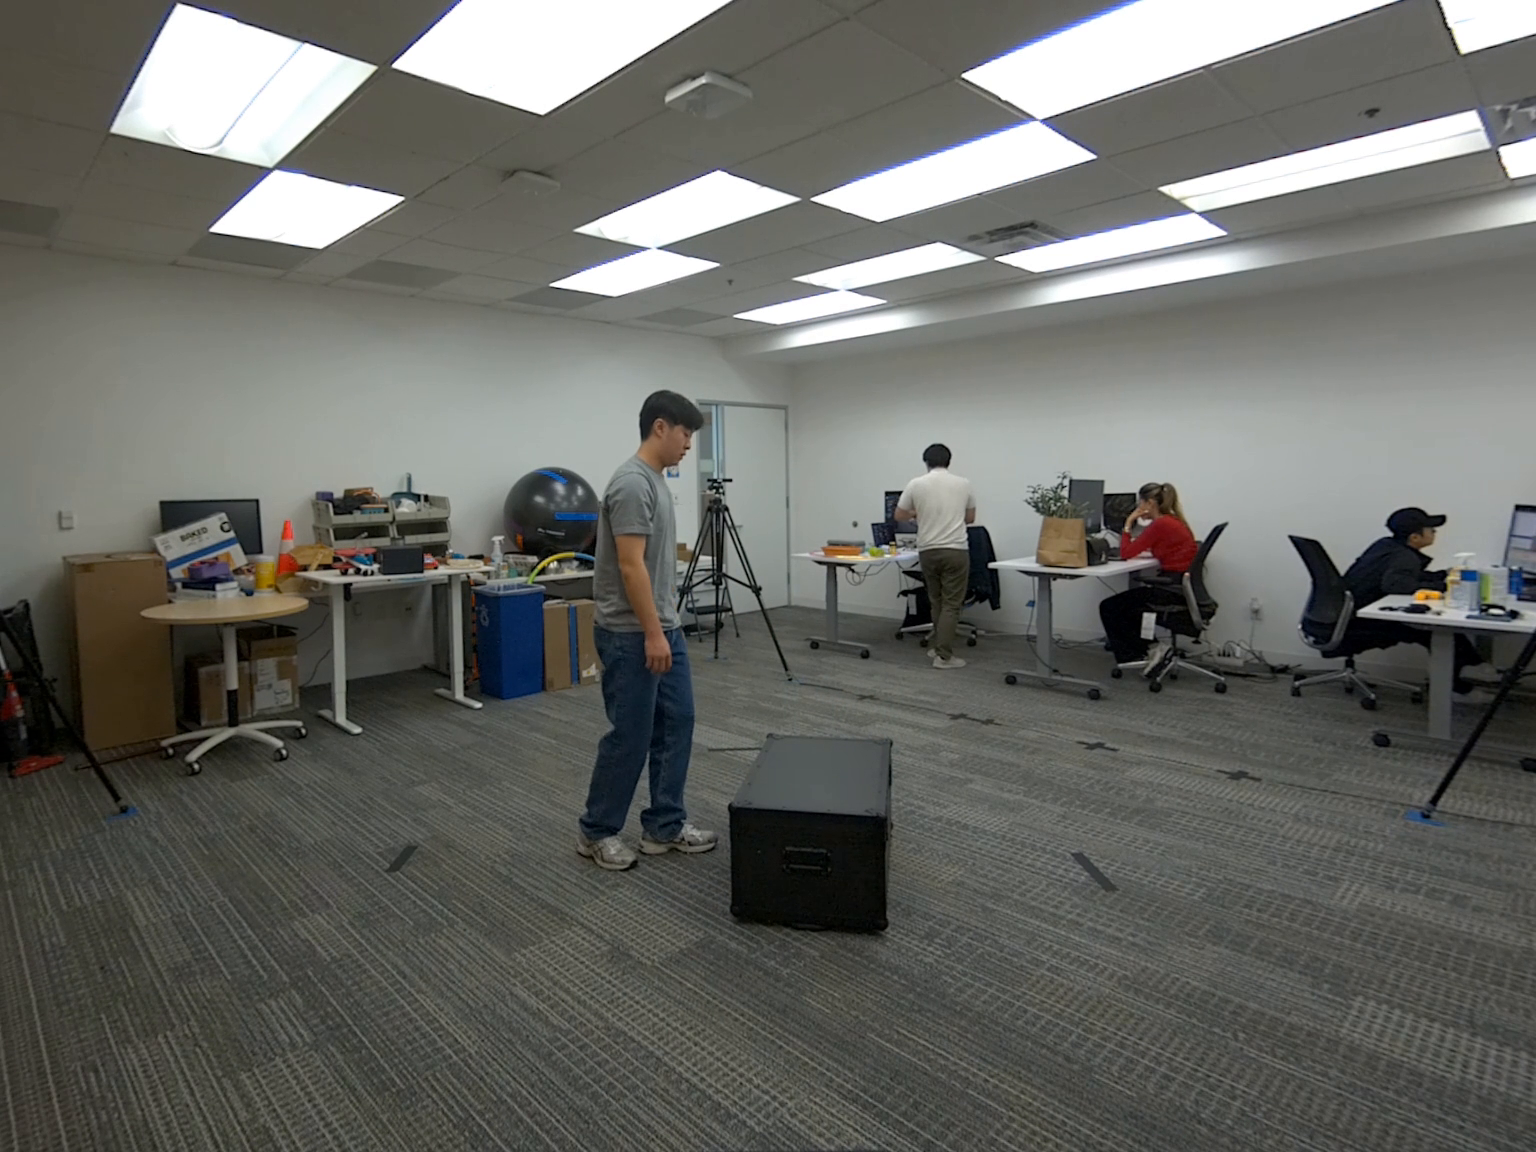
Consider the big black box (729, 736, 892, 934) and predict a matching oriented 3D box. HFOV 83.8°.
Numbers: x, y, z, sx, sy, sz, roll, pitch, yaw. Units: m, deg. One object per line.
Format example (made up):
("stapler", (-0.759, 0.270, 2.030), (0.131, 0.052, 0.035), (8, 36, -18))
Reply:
("big black box", (0.190, 0.858, 3.032), (0.527, 0.394, 0.856), (0, 6, 11))
